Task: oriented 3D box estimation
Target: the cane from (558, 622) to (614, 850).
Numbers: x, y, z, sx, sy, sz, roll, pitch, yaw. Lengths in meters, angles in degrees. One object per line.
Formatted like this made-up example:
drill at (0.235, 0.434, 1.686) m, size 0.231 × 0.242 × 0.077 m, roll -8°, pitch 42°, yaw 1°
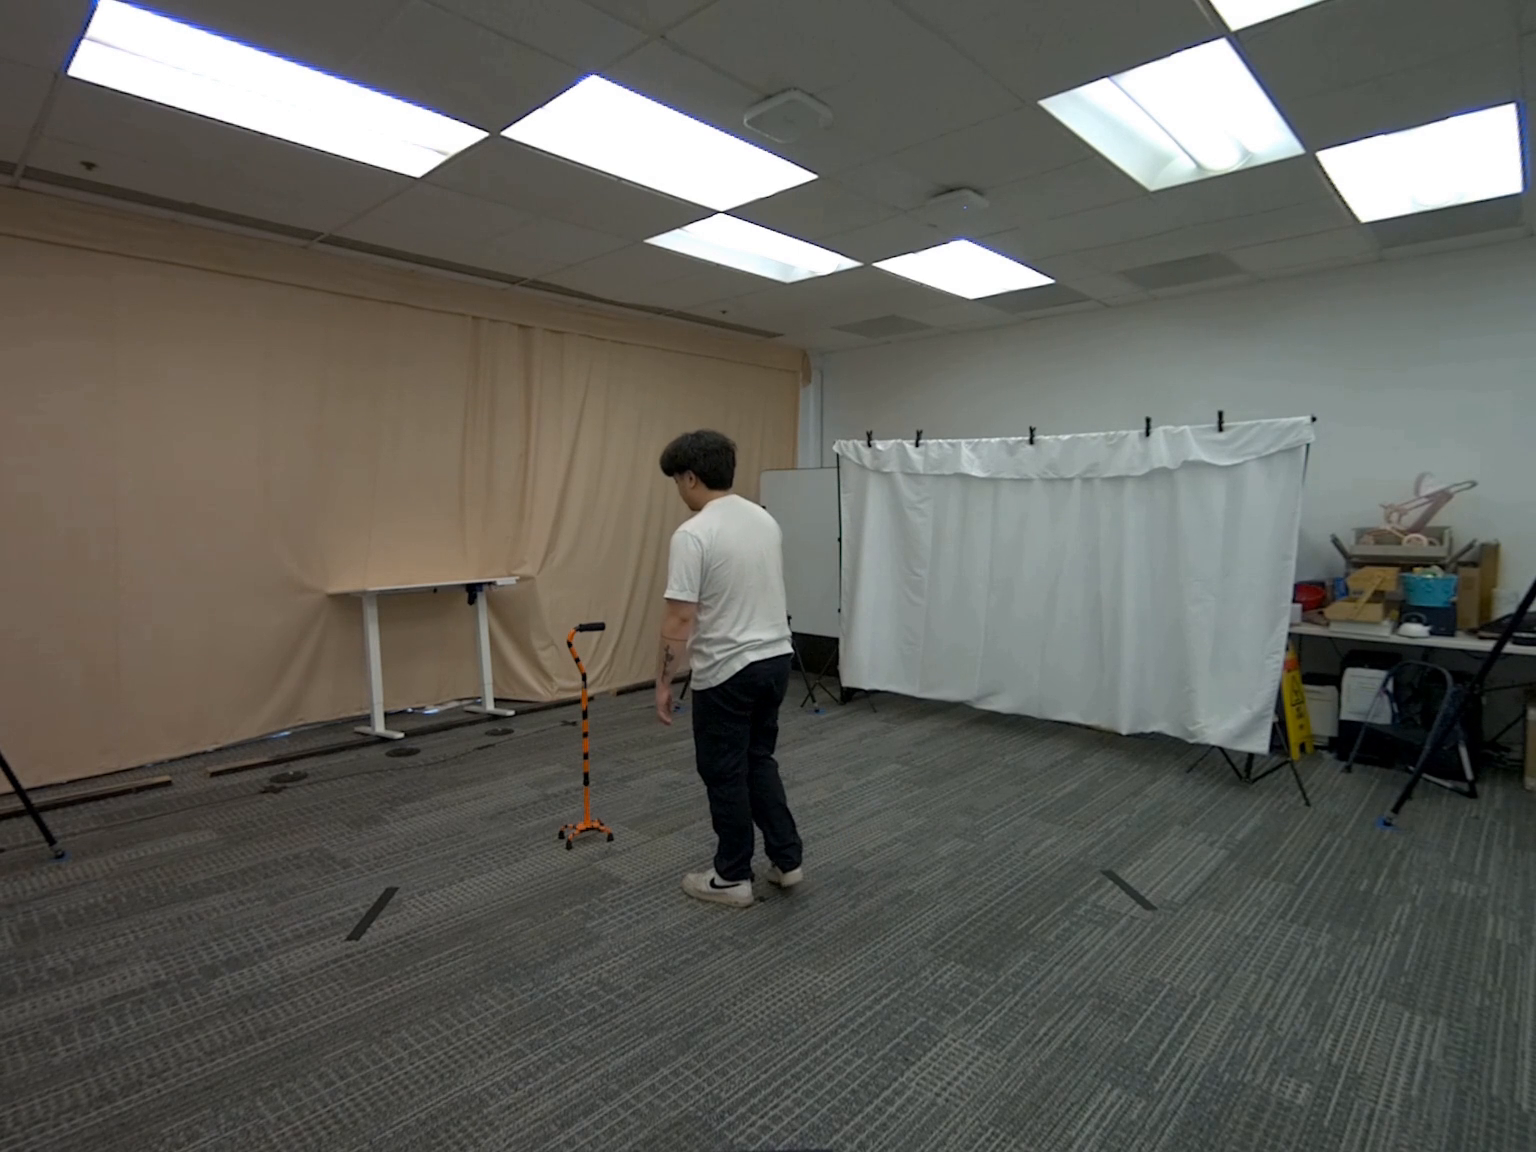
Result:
cane at (-0.767, 0.657, 3.517) m, size 0.201 × 0.906 × 0.156 m, roll -2°, pitch 3°, yaw -27°
